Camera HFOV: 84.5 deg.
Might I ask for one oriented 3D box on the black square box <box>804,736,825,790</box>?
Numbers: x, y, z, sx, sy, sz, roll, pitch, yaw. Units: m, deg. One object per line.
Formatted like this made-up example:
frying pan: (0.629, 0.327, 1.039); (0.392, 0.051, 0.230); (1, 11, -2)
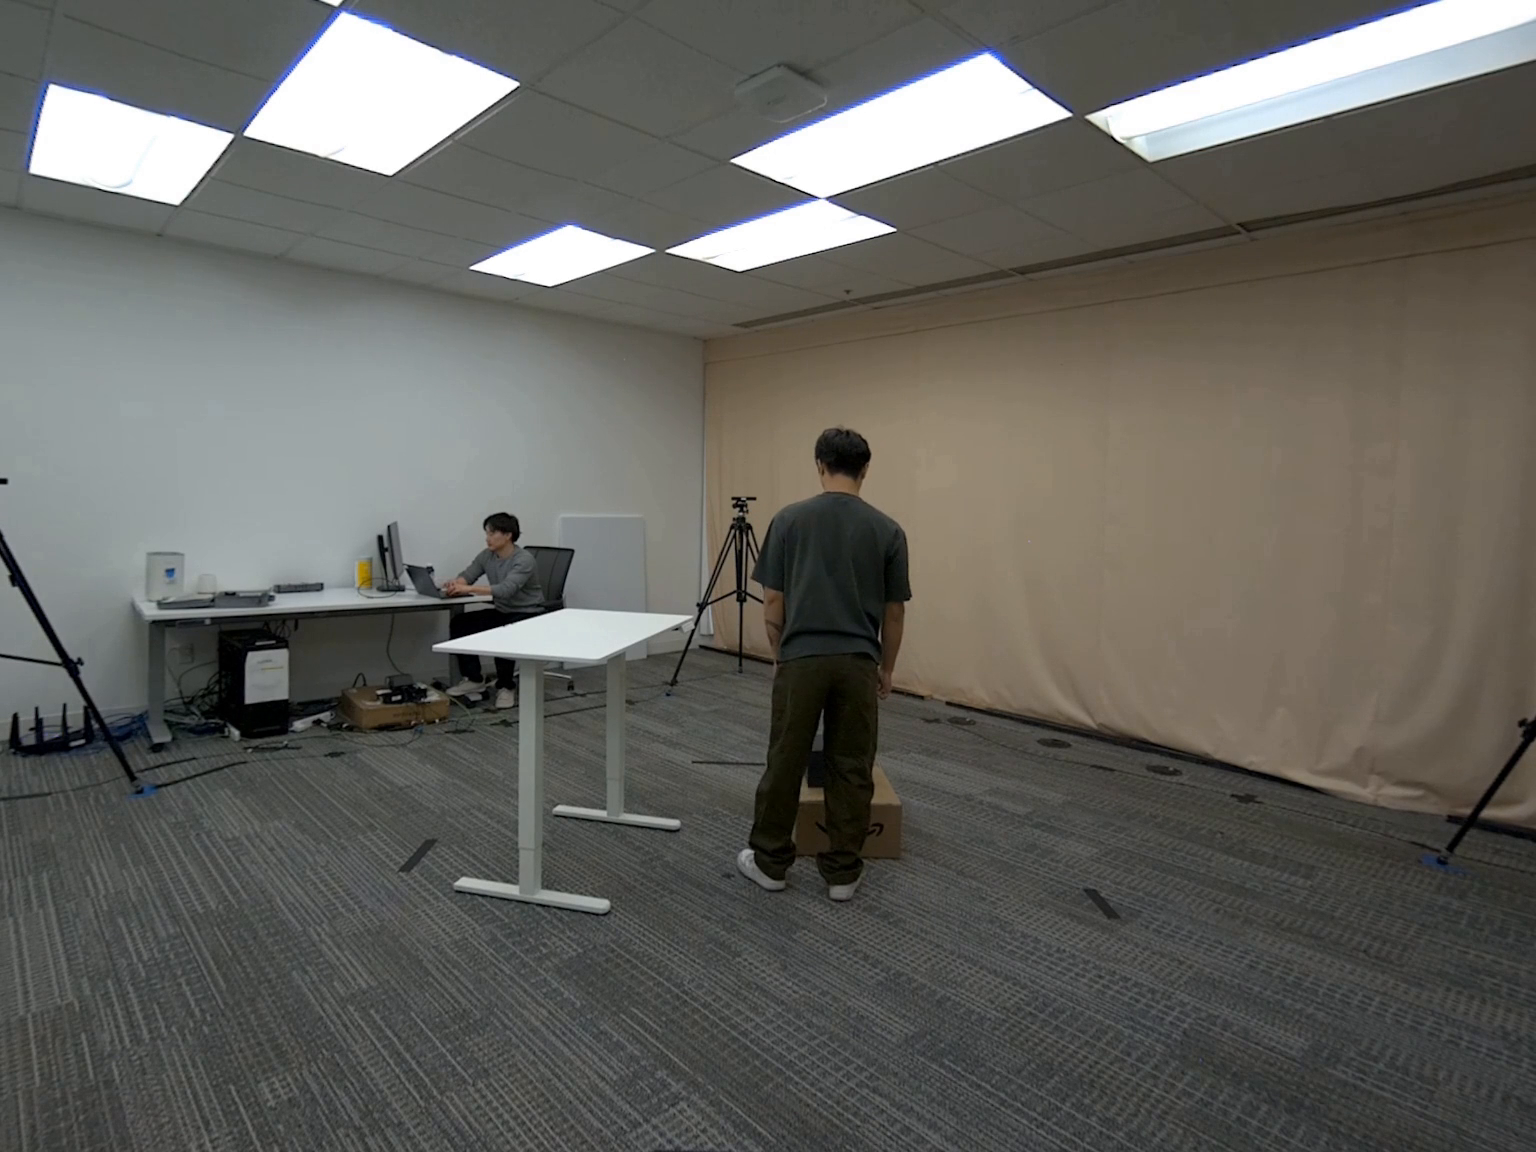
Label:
black square box: (0.265, 0.779, 3.557); (0.217, 0.155, 0.229); (0, 3, -2)
